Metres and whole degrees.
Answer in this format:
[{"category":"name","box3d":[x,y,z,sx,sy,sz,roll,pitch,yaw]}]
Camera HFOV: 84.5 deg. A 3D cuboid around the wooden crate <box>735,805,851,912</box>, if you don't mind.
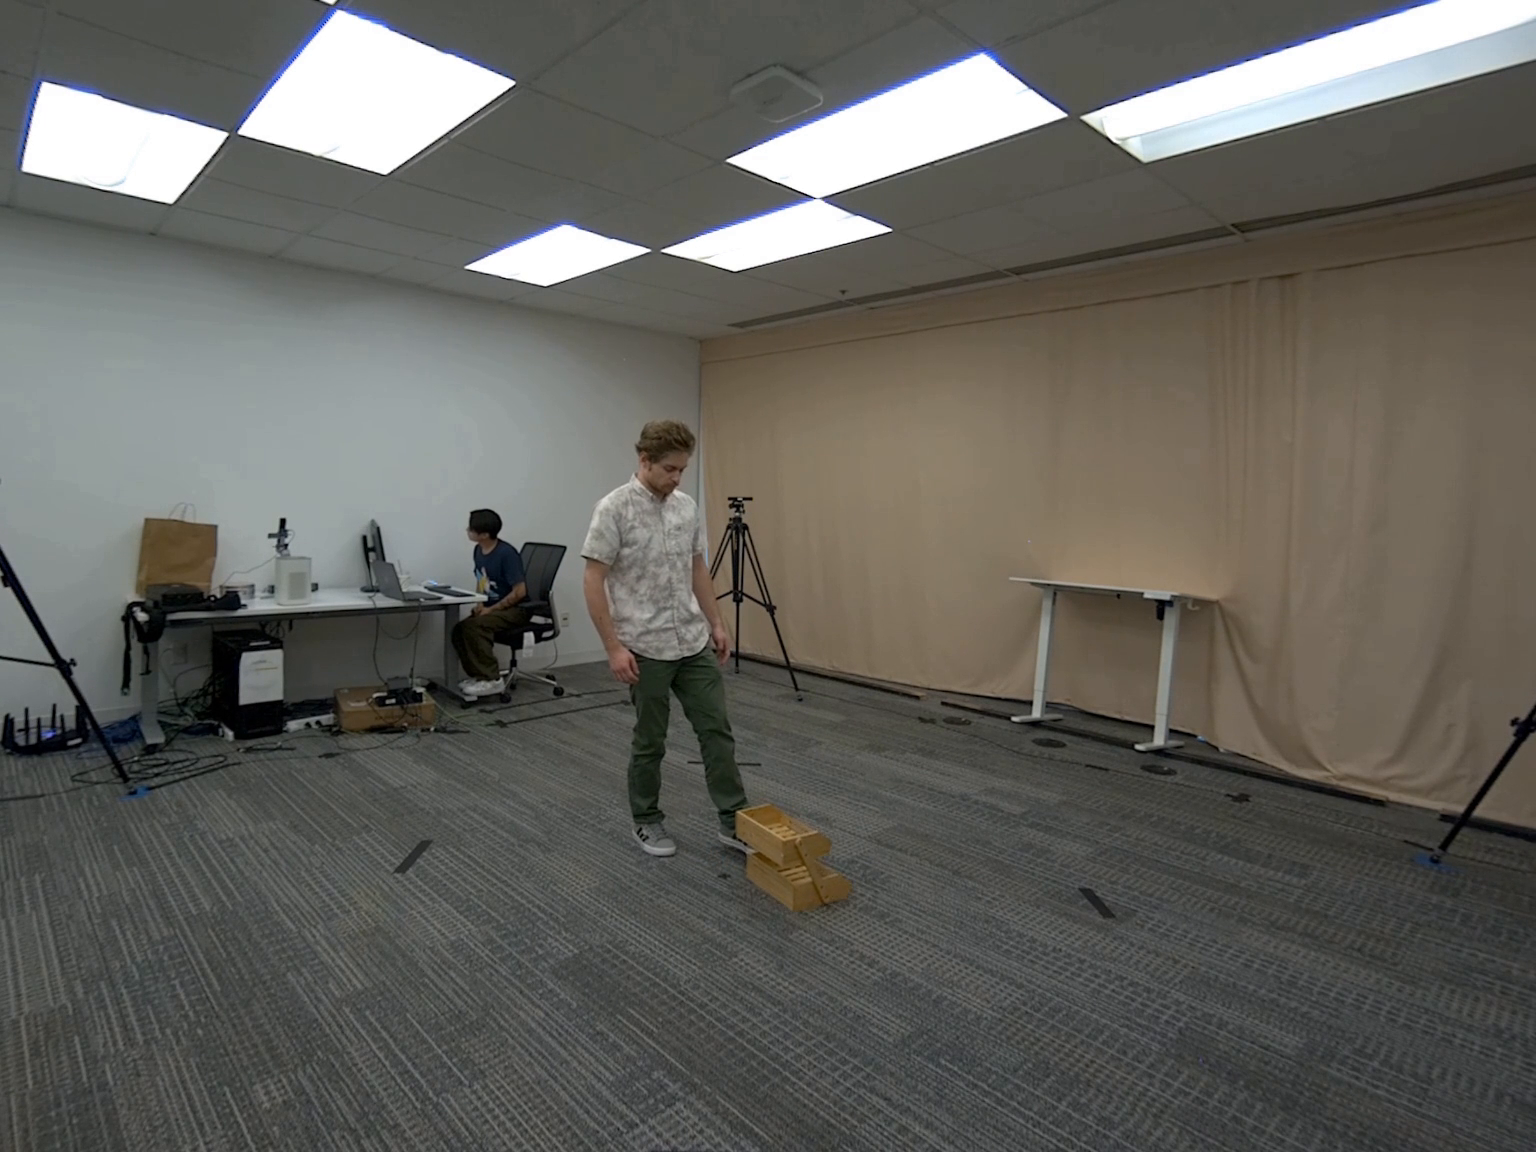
[{"category":"wooden crate","box3d":[0.087,0.986,3.005,0.296,0.272,0.332,-2,5,-33]}]
